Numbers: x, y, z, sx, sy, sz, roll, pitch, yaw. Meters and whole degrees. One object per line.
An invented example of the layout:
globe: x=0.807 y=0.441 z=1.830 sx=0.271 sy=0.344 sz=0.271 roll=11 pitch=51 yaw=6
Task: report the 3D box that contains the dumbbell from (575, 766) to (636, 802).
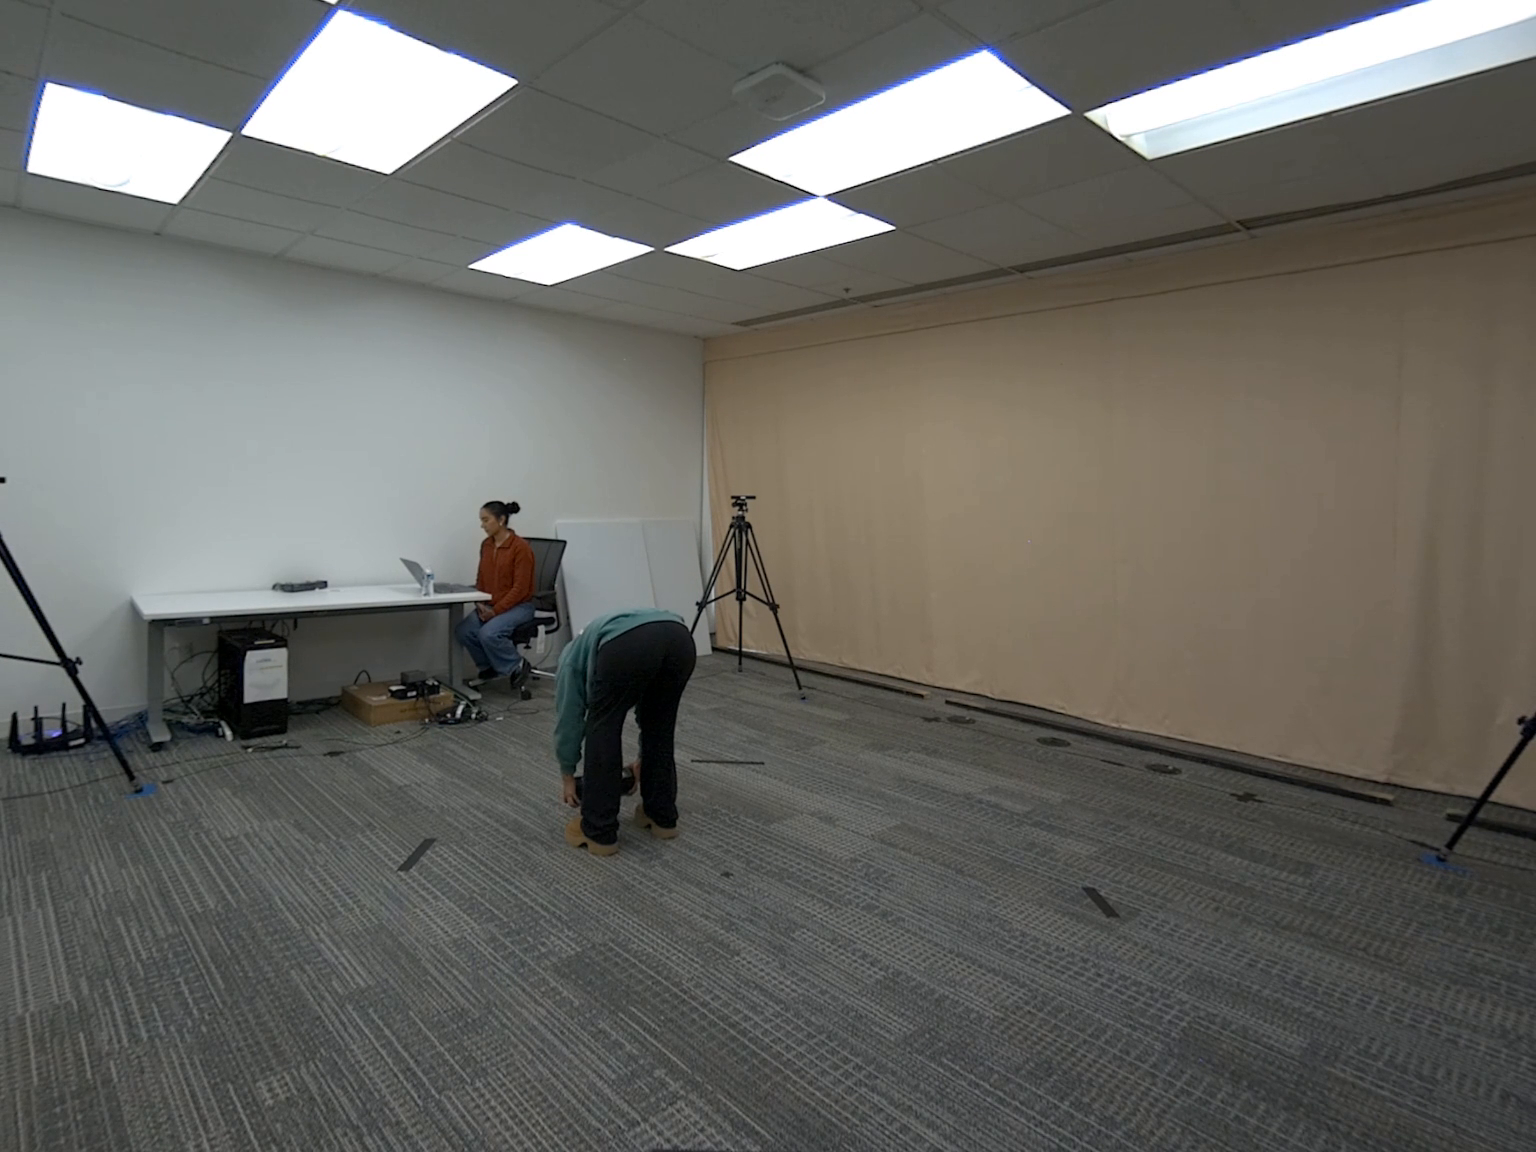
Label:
dumbbell: x=-0.713 y=0.893 z=3.578 sx=0.287 sy=0.123 sz=0.111 roll=-1 pitch=-2 yaw=-37
